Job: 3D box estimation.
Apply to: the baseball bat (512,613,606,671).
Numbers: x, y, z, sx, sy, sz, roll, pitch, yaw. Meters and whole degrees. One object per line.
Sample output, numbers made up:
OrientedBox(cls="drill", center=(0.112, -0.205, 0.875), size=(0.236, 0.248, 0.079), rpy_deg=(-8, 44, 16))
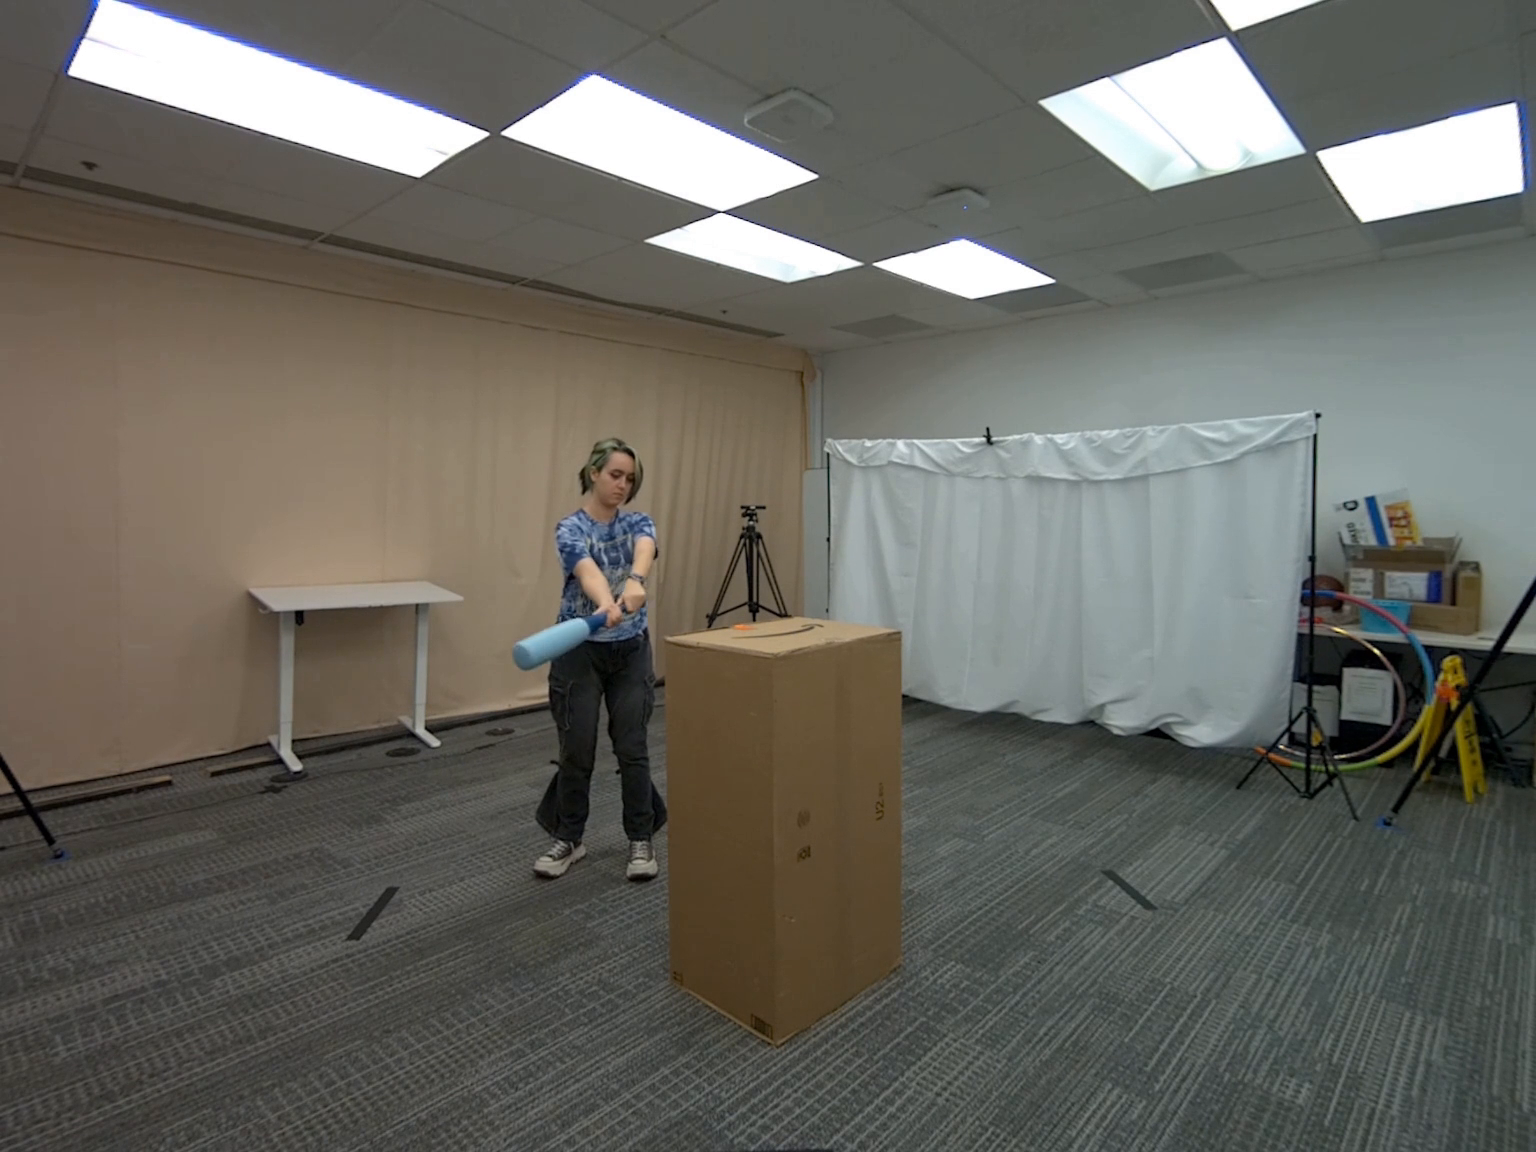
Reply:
OrientedBox(cls="baseball bat", center=(-0.559, 0.149, 2.589), size=(0.092, 0.088, 0.532), rpy_deg=(2, 17, 31))
